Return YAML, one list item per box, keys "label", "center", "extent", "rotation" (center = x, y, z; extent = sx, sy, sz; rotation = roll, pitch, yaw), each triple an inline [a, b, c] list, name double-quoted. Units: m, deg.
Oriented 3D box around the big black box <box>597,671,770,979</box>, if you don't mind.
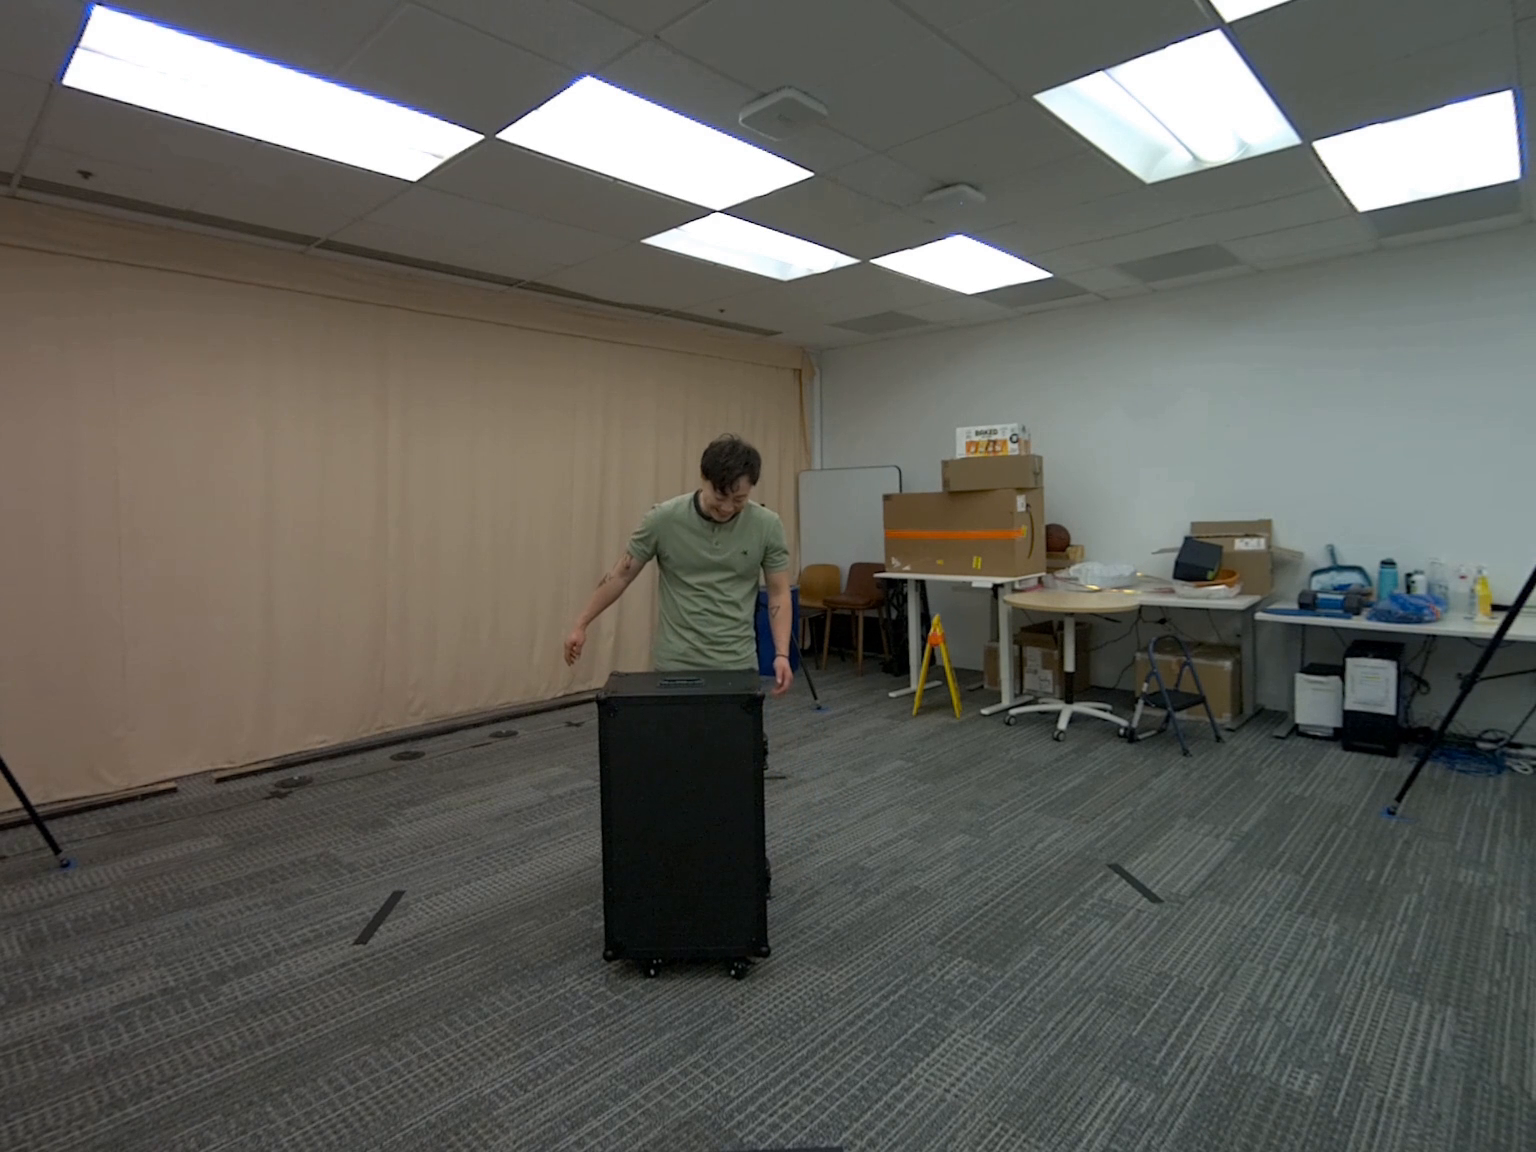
- label: "big black box"
  center: [-0.258, 0.749, 2.624]
  extent: [0.521, 0.860, 0.397]
  rotation: [-1, 3, -1]
